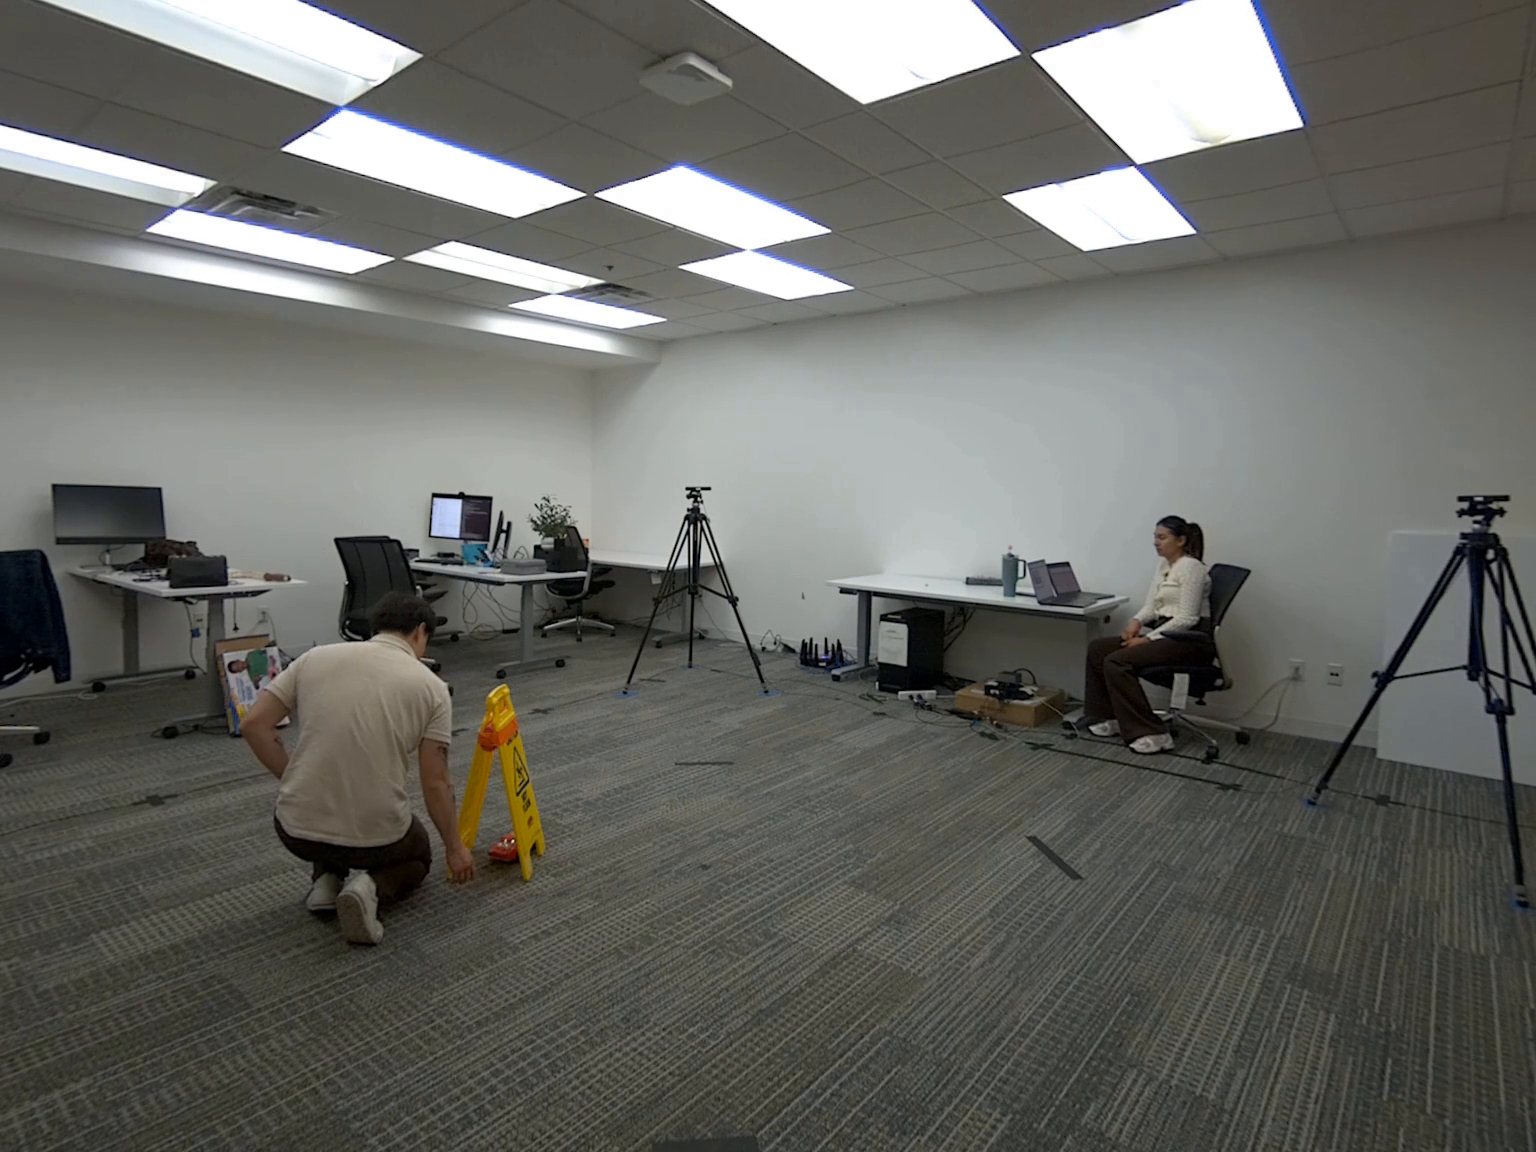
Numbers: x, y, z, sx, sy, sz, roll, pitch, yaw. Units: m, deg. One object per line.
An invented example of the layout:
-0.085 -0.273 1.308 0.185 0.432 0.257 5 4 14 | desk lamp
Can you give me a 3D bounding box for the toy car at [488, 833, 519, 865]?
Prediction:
-0.979 1.024 3.191 0.133 0.084 0.248 3 -7 15 | toy car
